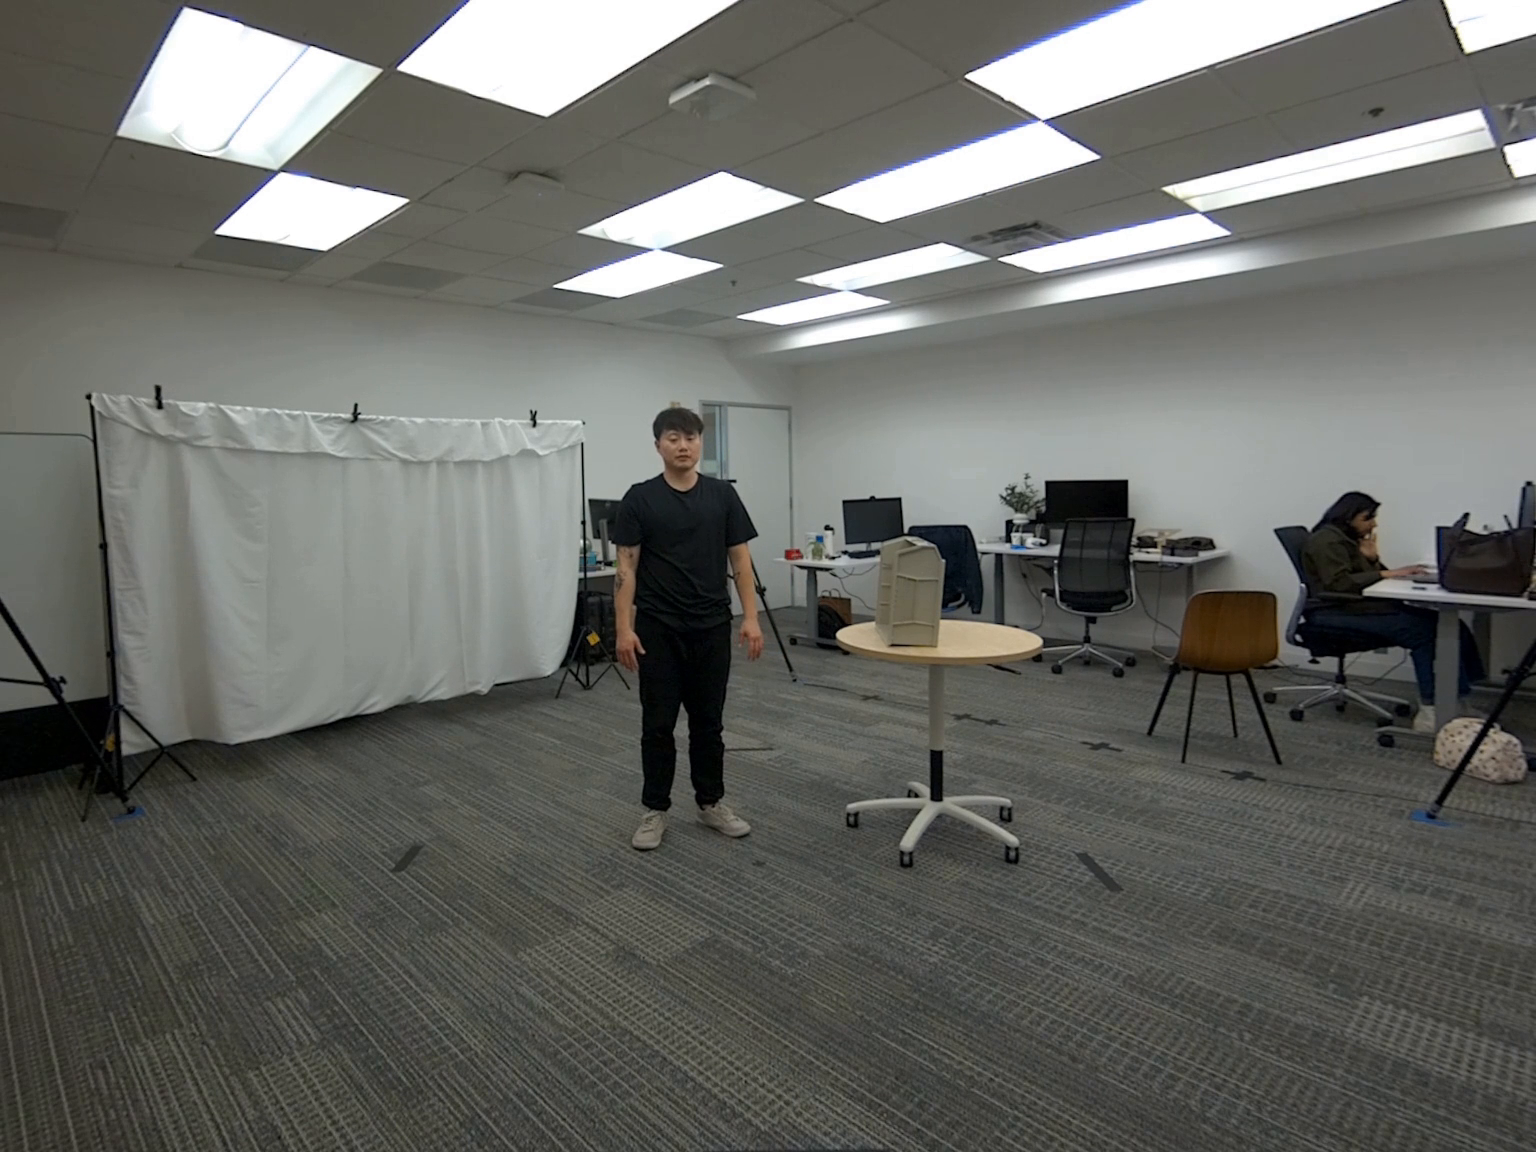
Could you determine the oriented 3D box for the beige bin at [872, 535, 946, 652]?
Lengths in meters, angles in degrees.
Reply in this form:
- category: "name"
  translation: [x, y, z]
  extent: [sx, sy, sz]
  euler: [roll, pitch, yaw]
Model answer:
- category: "beige bin"
  translation: [0.525, 0.051, 3.261]
  extent: [0.189, 0.376, 0.423]
  euler: [3, 5, 2]
